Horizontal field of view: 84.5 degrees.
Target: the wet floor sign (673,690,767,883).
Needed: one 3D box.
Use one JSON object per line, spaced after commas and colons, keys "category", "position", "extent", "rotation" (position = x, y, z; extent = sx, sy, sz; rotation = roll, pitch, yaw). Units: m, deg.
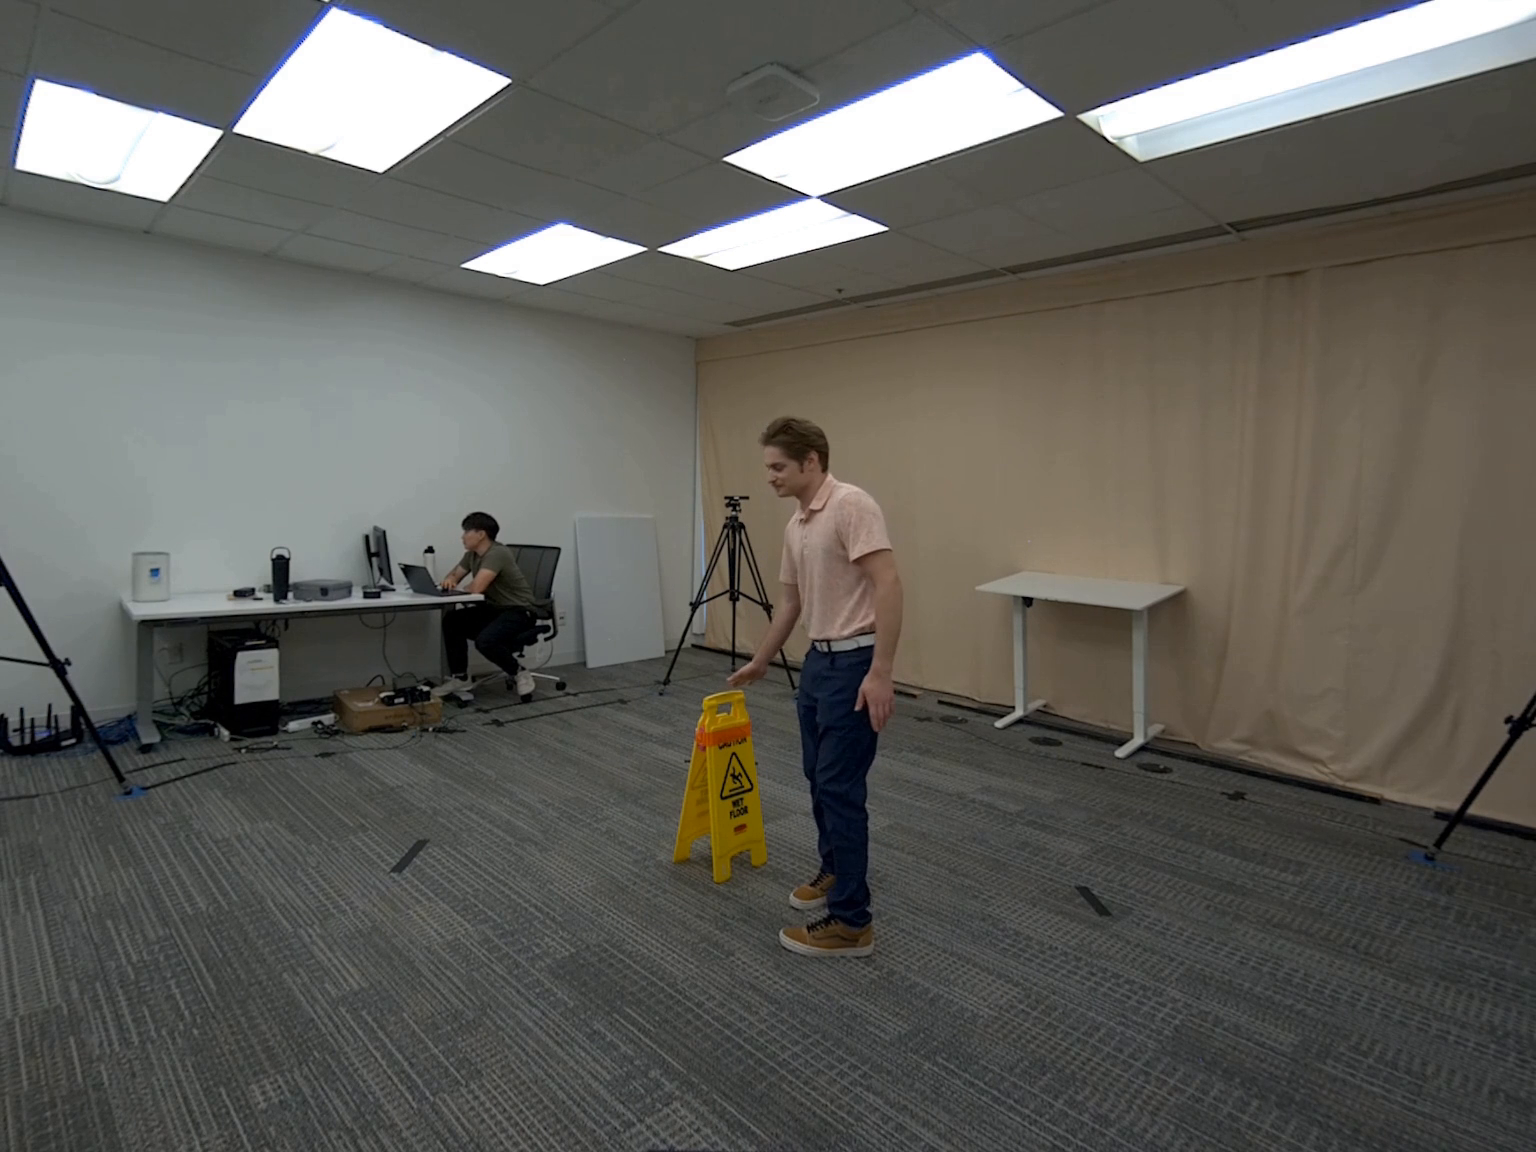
{"category": "wet floor sign", "position": [-0.177, 0.768, 3.190], "extent": [0.297, 0.644, 0.276], "rotation": [5, 5, 42]}
